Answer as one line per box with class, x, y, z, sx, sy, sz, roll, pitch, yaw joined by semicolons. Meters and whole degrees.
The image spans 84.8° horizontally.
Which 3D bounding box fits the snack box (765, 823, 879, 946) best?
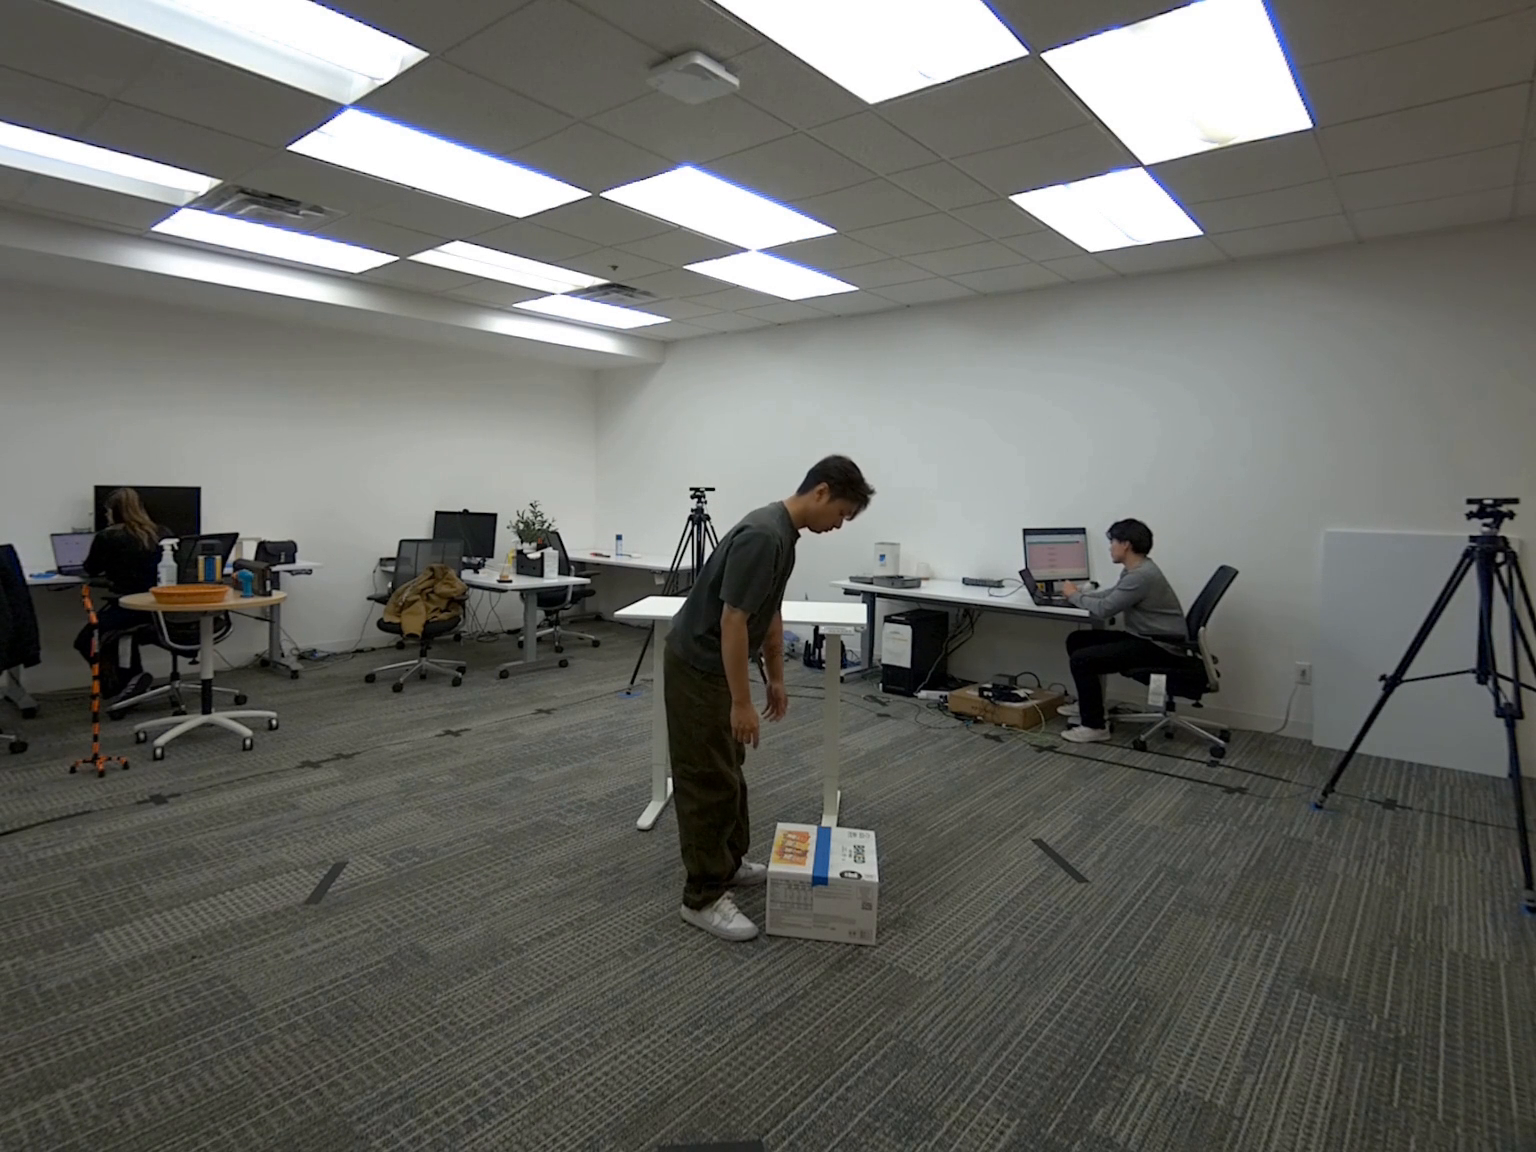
snack box;0.175;1.006;2.807;0.343;0.205;0.403;2;5;7
